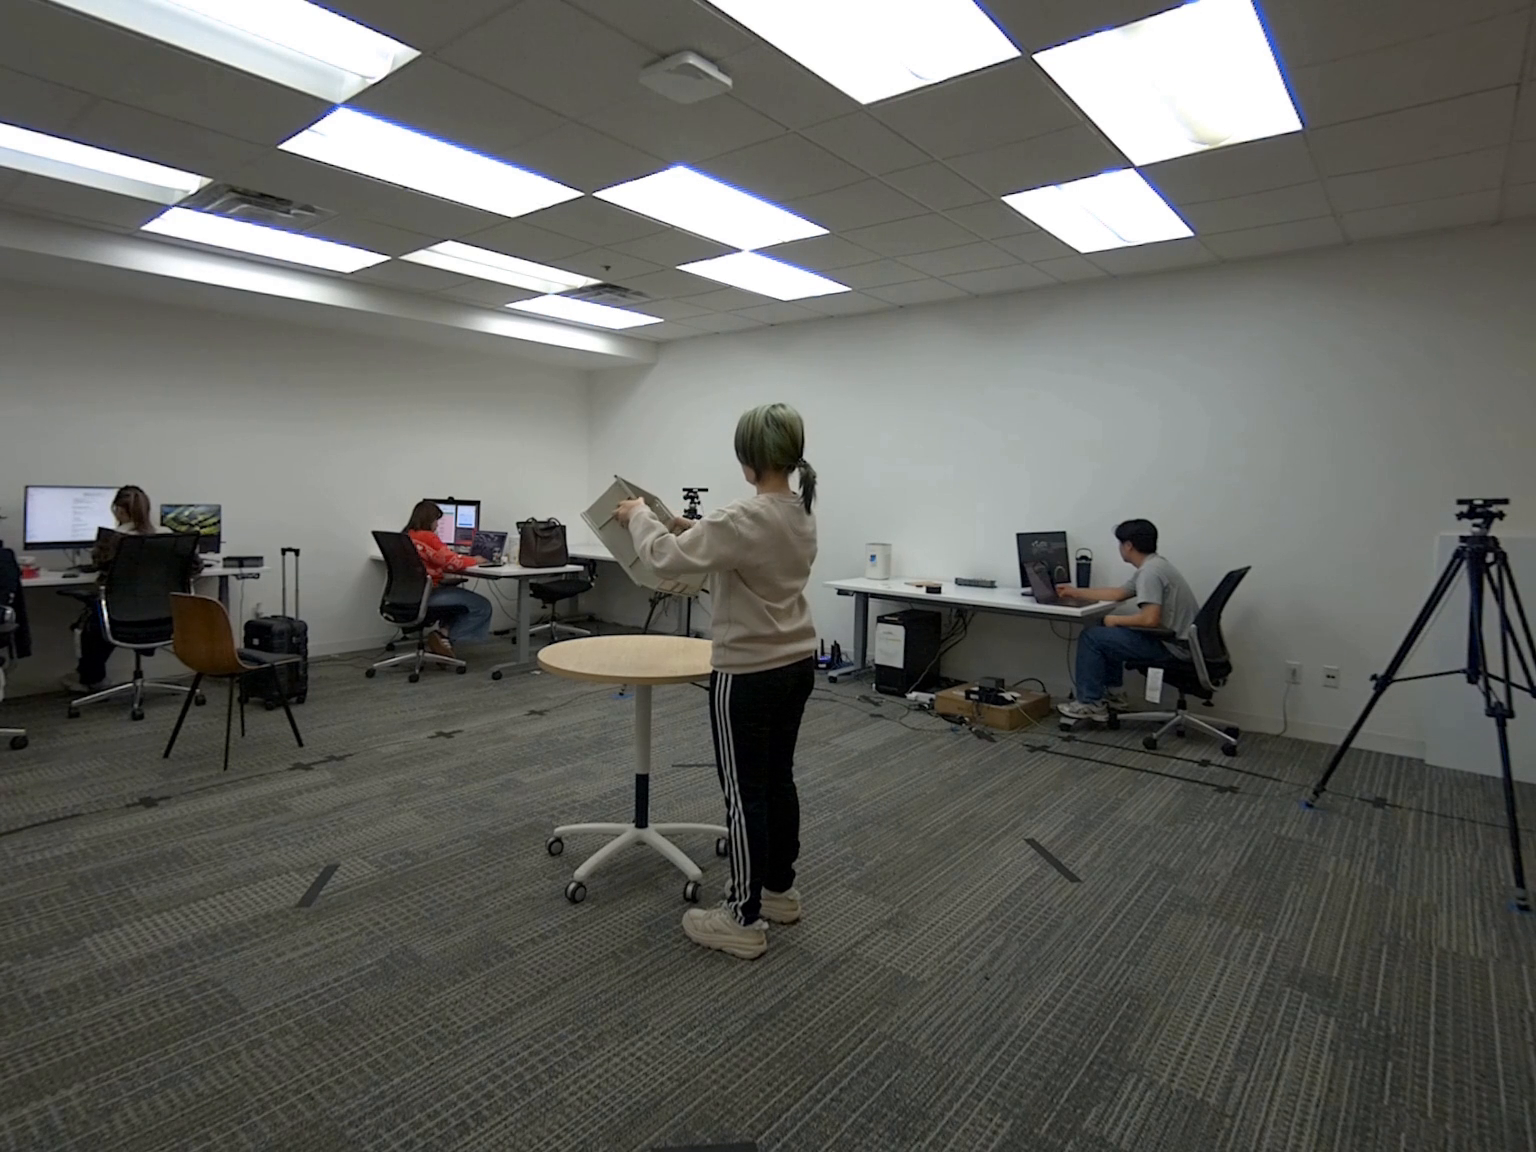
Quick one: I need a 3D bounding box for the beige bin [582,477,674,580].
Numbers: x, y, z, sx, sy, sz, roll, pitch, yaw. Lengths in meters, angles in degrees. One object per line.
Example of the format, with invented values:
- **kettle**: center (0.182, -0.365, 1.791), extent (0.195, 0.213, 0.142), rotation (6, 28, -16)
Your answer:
- **beige bin**: center (-0.407, -0.116, 2.919), extent (0.189, 0.385, 0.414), rotation (-43, -13, 6)
